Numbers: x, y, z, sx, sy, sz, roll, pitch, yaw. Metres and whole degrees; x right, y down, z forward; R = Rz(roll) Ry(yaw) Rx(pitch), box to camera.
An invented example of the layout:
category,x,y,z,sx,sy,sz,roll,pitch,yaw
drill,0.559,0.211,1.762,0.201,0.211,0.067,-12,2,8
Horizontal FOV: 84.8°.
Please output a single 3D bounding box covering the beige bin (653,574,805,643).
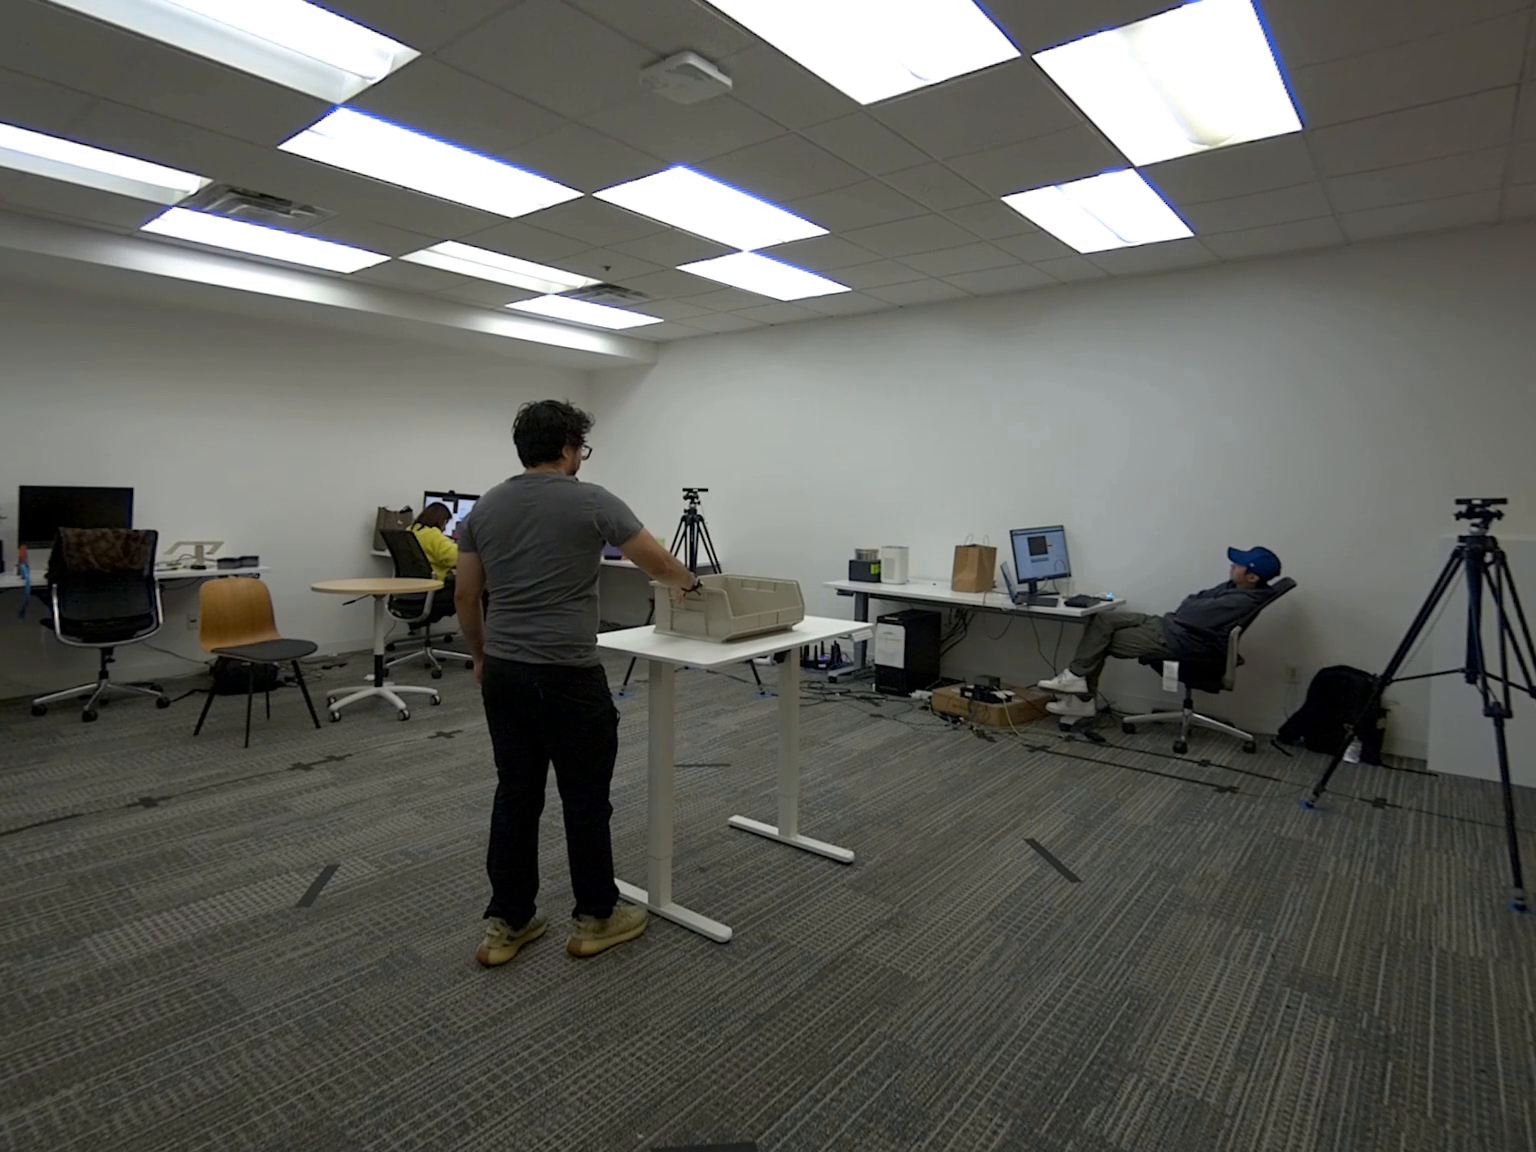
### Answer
category,x,y,z,sx,sy,sz,roll,pitch,yaw
beige bin,-0.148,0.106,3.027,0.390,0.188,0.410,3,6,39
